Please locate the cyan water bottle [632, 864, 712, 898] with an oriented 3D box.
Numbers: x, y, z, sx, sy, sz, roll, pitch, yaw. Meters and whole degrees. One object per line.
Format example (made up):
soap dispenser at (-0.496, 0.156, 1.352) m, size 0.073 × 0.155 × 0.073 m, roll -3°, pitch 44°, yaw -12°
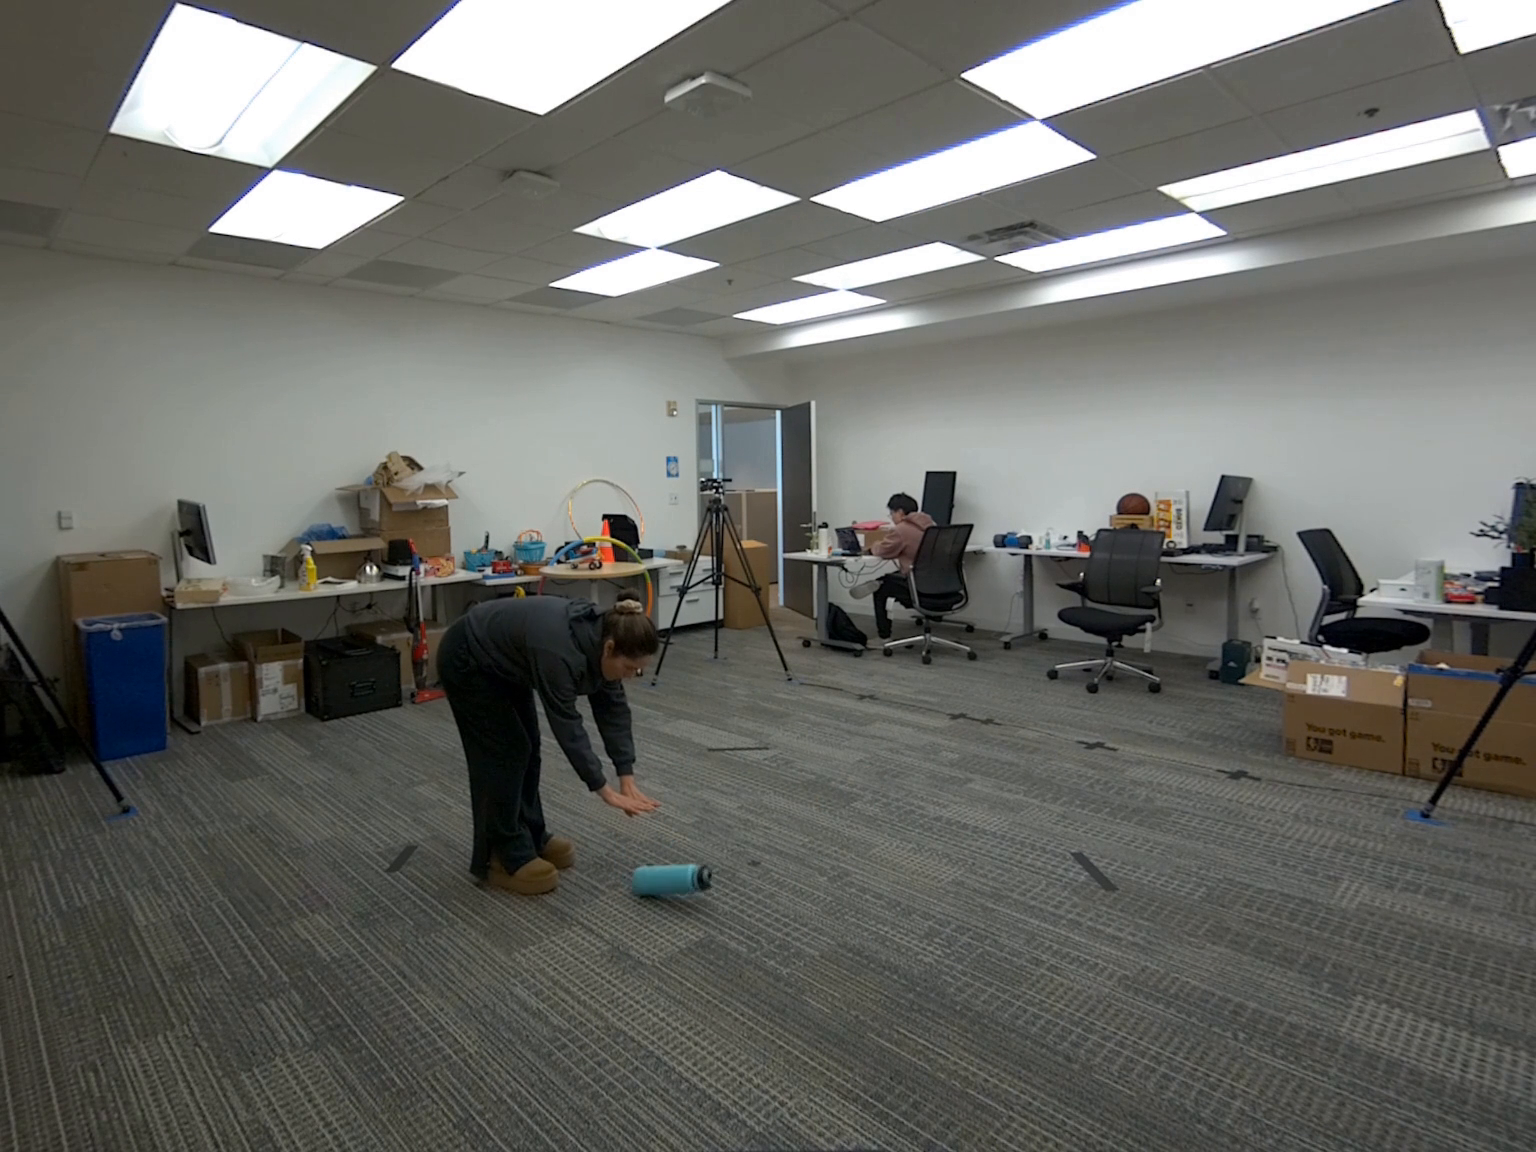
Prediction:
cyan water bottle at (-0.316, 0.996, 2.822) m, size 0.288 × 0.092 × 0.091 m, roll -13°, pitch -1°, yaw 23°
